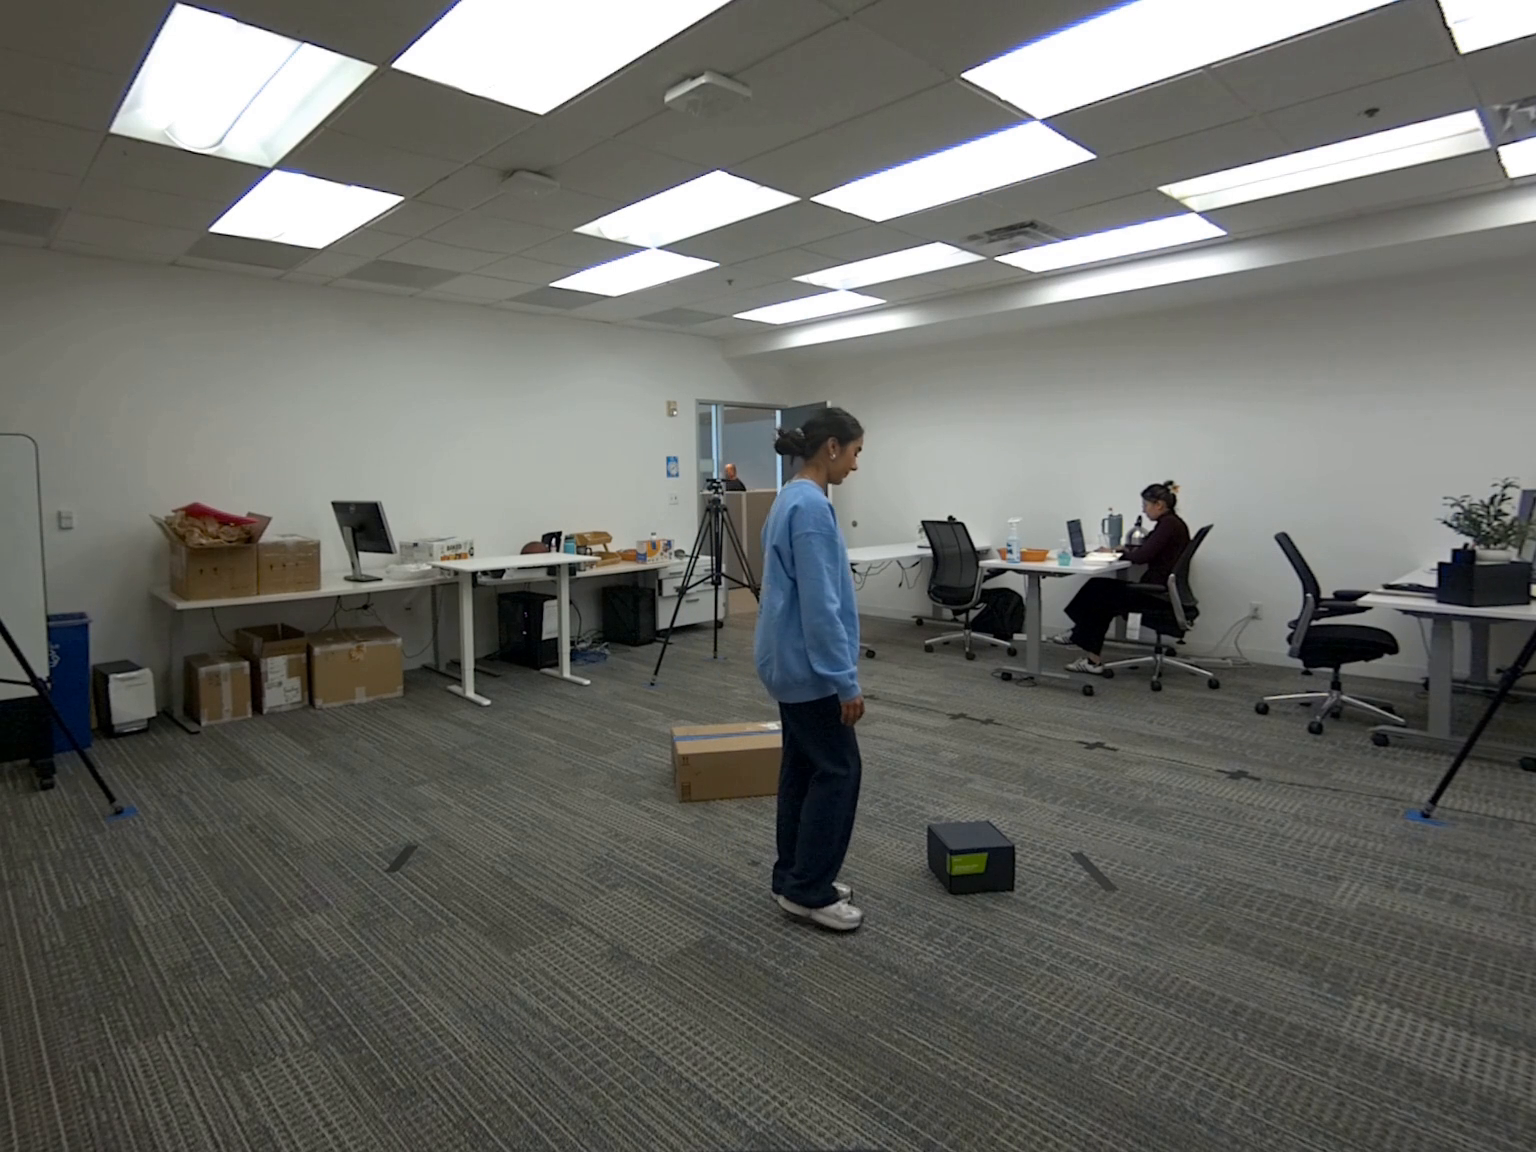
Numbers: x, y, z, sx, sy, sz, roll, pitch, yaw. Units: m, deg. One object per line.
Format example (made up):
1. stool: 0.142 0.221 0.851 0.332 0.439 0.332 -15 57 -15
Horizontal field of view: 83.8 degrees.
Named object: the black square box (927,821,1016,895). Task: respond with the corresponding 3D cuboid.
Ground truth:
1. black square box: 0.705 0.965 2.952 0.226 0.155 0.219 -1 5 -9
